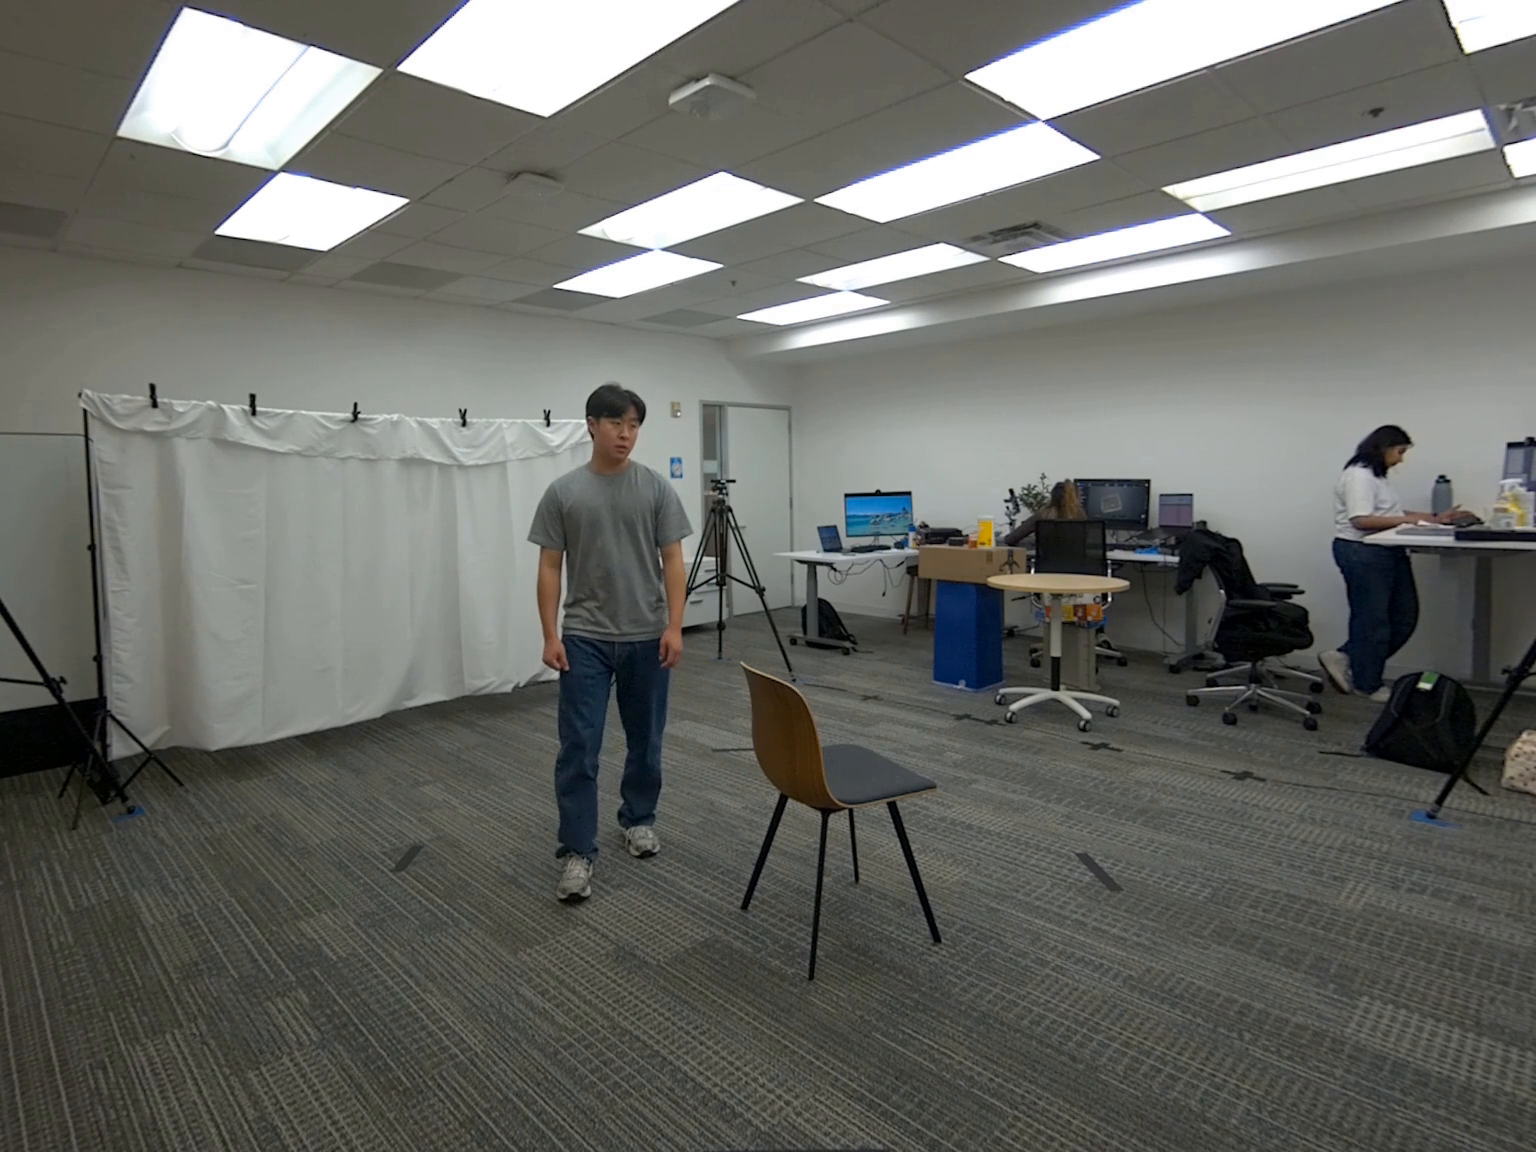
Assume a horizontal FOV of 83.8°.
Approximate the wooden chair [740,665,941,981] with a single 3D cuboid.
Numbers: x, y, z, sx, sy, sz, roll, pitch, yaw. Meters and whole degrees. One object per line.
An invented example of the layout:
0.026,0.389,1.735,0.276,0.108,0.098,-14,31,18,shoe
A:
0.217,0.672,2.636,0.513,0.872,0.490,-7,6,-25,wooden chair
